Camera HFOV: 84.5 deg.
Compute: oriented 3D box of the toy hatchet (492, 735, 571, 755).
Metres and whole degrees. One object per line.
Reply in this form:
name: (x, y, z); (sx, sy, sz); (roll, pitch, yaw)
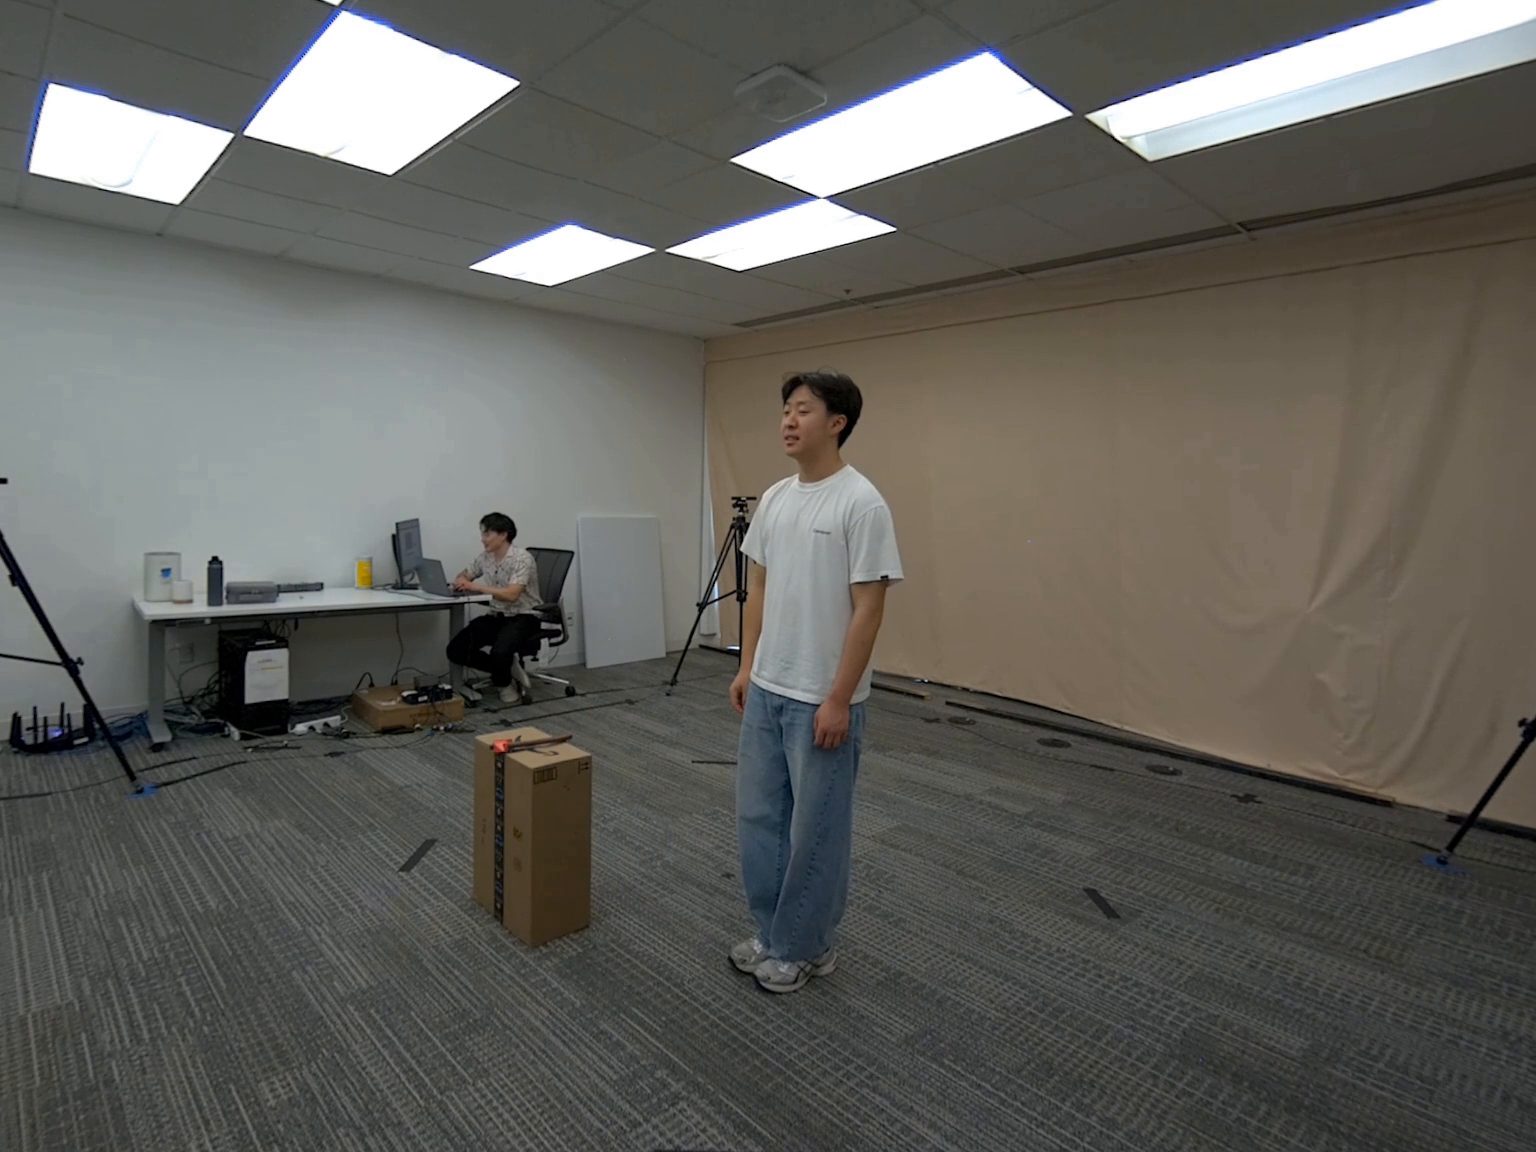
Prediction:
toy hatchet: (-0.790, 0.543, 2.773); (0.264, 0.029, 0.134); (-3, 2, -45)
